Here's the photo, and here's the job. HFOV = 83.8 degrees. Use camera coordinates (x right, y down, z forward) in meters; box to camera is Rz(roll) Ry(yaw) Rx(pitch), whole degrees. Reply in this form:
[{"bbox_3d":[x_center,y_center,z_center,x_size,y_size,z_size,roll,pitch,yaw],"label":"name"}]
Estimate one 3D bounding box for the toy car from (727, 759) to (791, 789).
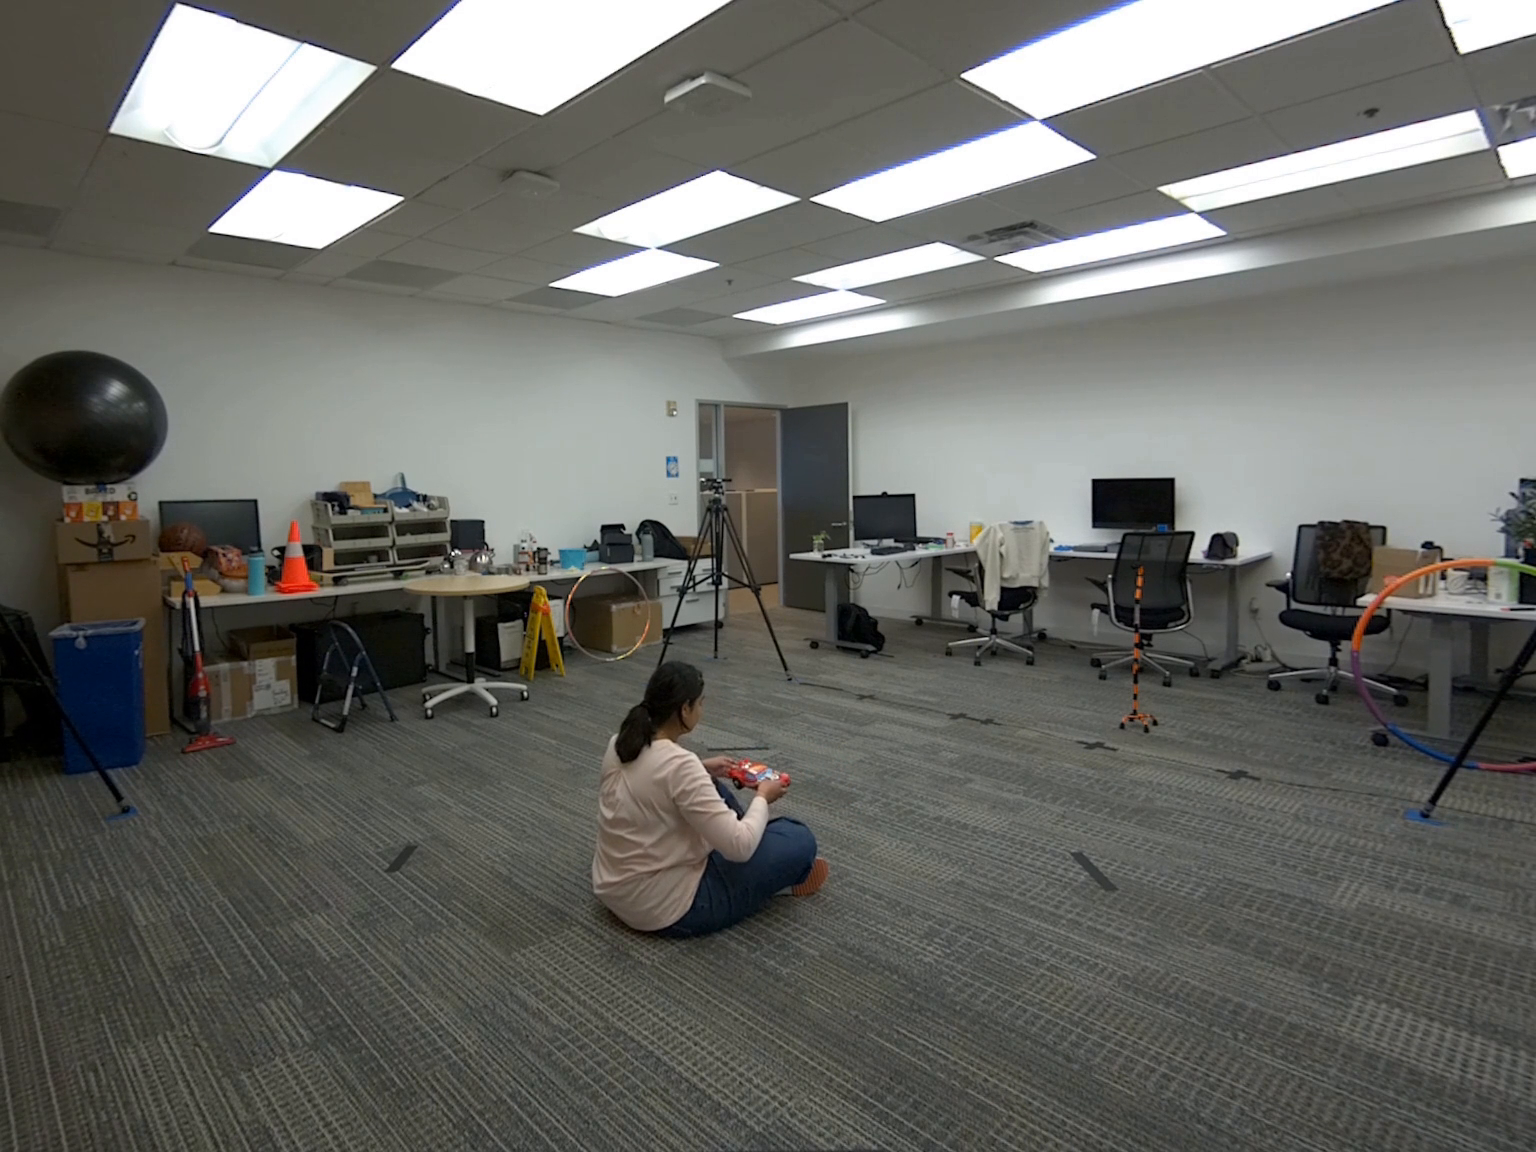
[{"bbox_3d":[-0.039,0.715,3.045,0.128,0.082,0.264,-20,25,-36],"label":"toy car"}]
